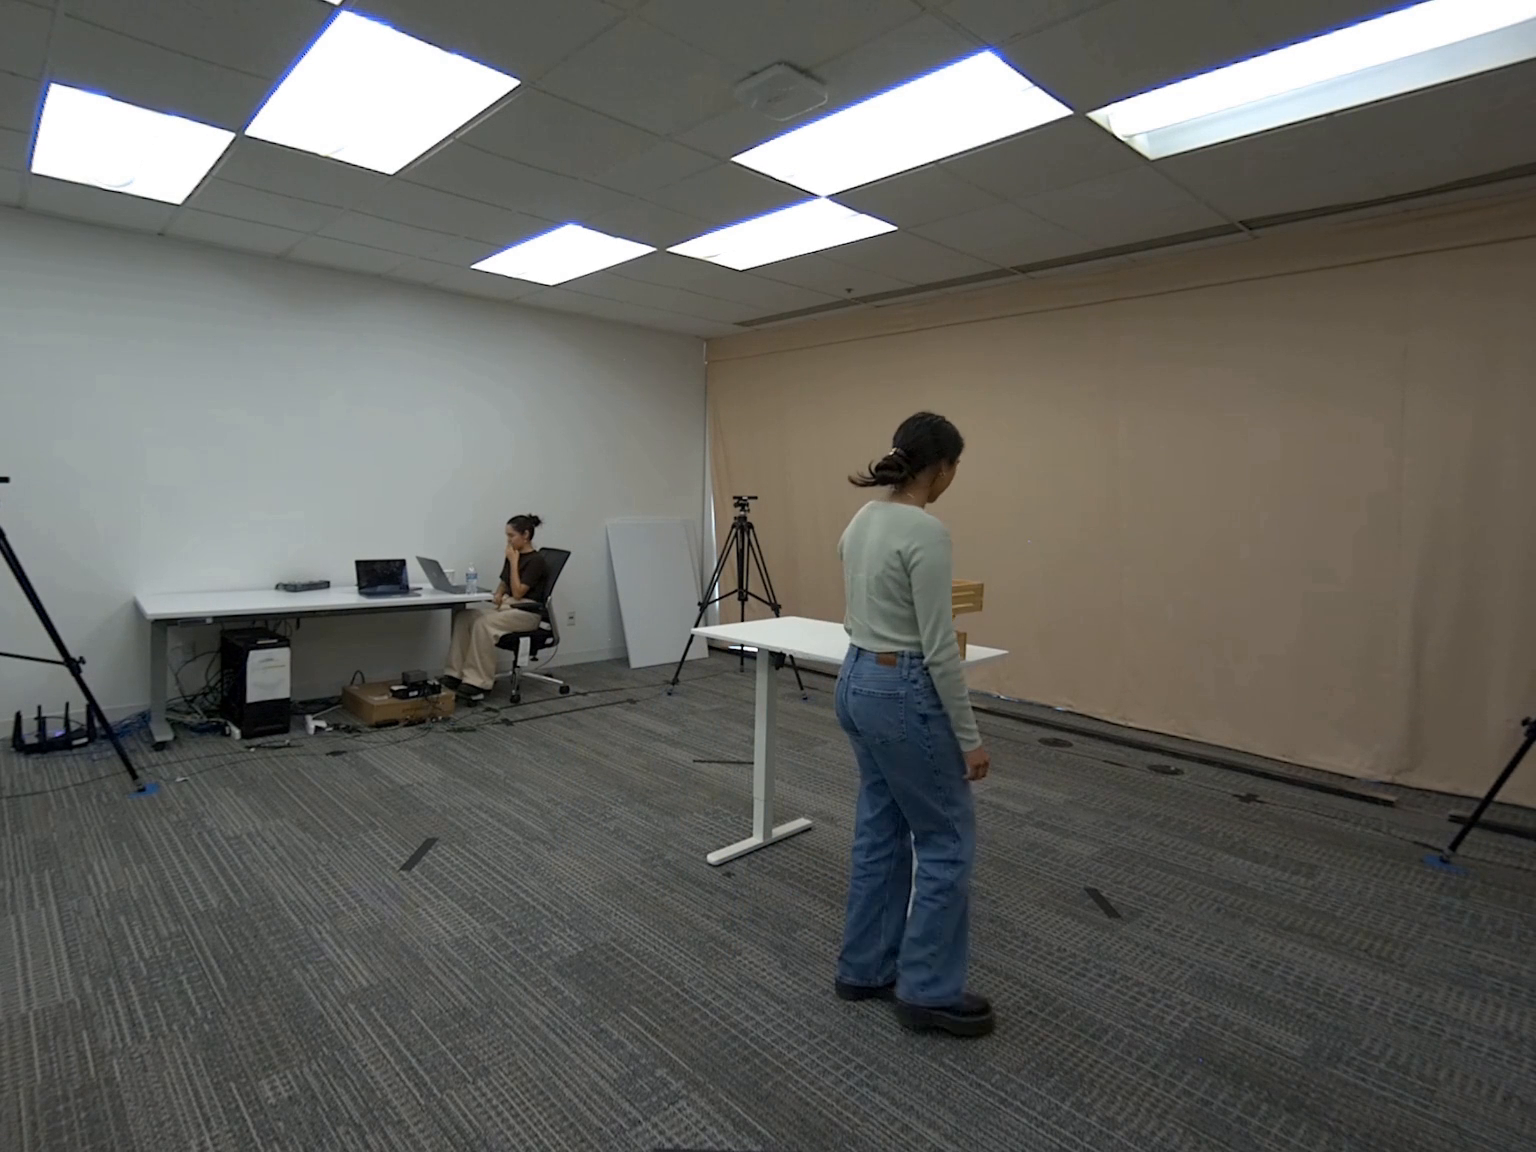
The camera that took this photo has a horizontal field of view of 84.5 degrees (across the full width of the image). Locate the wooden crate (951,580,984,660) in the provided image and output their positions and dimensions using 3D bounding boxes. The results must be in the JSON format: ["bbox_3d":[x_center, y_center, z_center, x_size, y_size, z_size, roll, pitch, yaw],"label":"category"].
[{"bbox_3d":[0.474,0.142,2.716,0.310,0.272,0.317,8,7,44],"label":"wooden crate"}]
